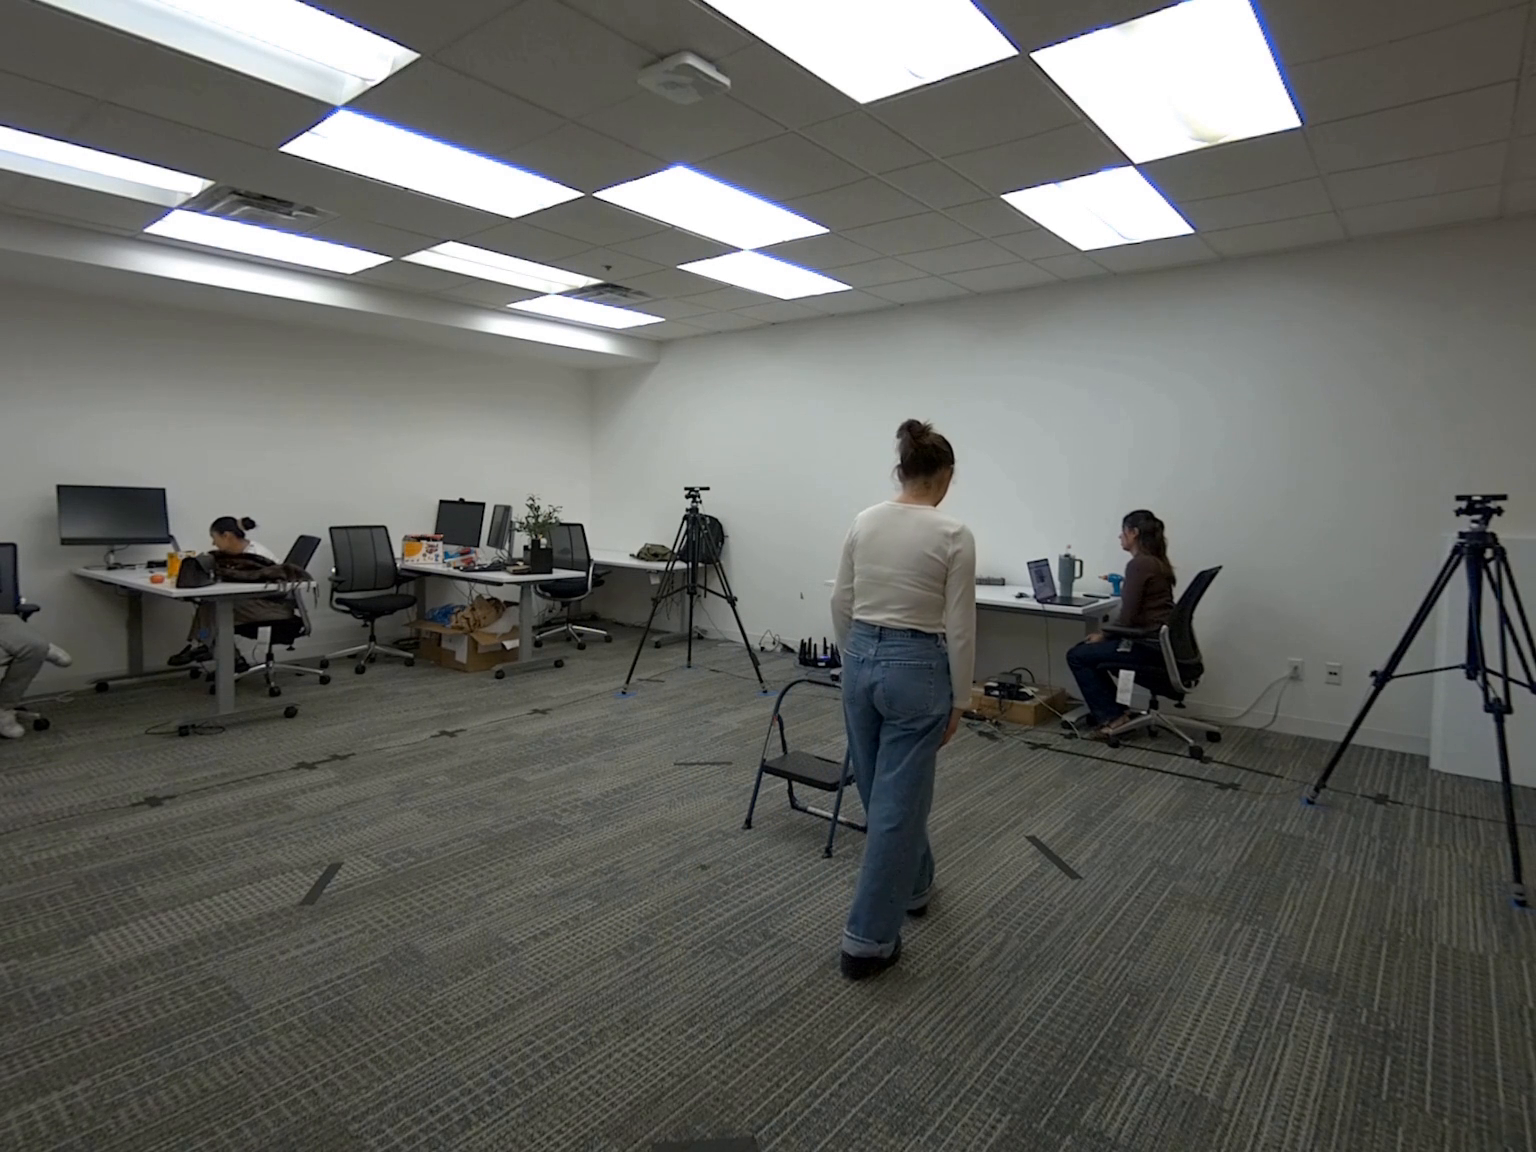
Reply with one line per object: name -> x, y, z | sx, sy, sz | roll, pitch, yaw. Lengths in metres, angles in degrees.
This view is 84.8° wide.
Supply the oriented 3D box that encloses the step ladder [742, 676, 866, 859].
step ladder -> 0.162, 0.735, 3.461 | 0.445, 0.604, 0.339 | 4, 5, 39
